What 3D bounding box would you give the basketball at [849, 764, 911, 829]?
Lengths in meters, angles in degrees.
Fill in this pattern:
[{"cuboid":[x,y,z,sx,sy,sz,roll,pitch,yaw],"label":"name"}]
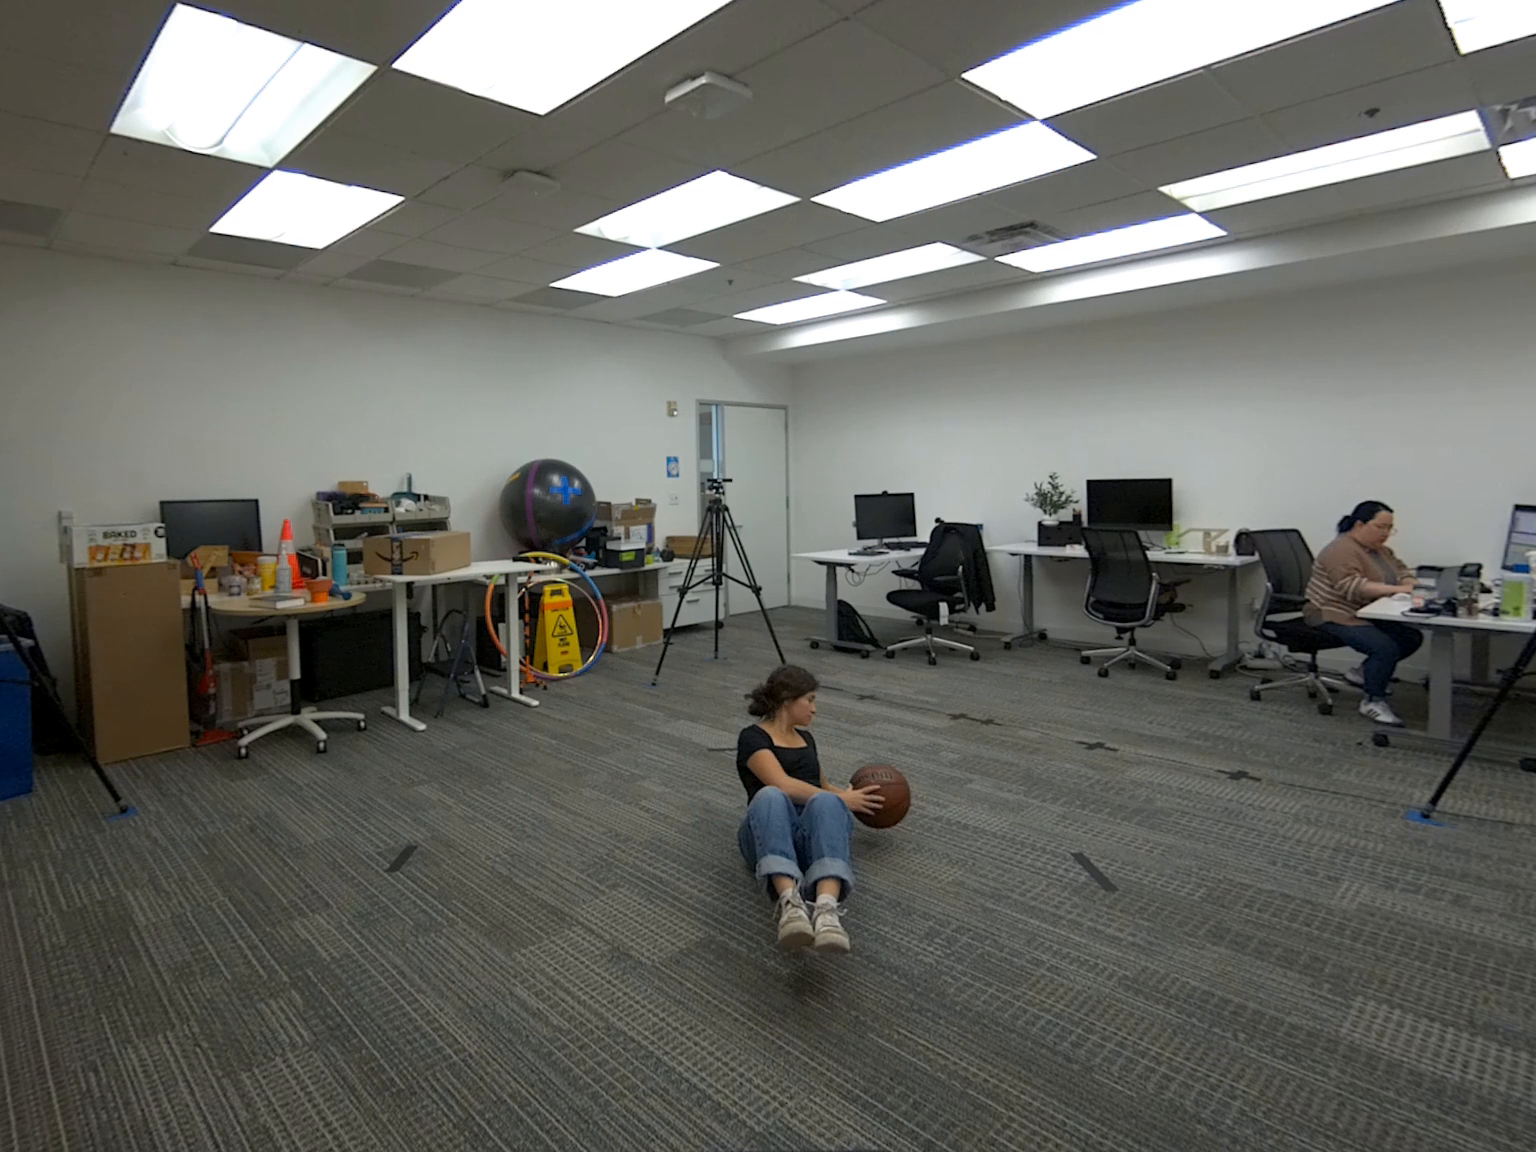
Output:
[{"cuboid":[0.411,0.821,3.225,0.236,0.235,0.237,-1,5,-2],"label":"basketball"}]
